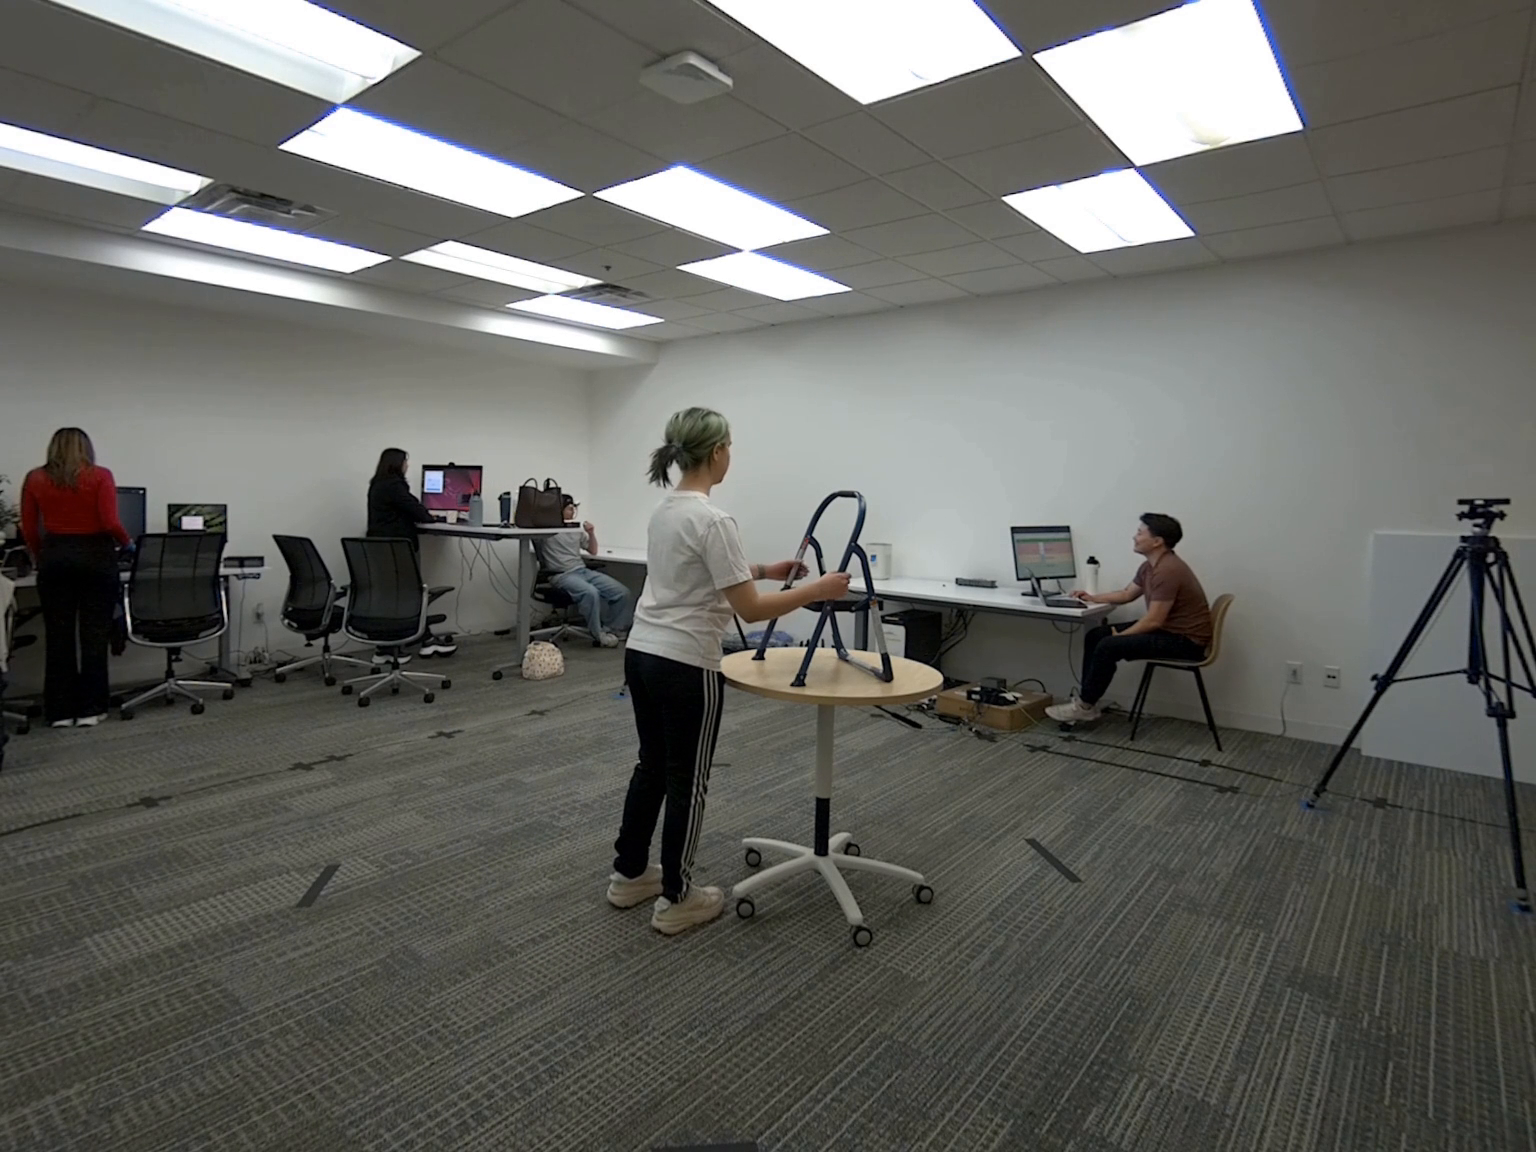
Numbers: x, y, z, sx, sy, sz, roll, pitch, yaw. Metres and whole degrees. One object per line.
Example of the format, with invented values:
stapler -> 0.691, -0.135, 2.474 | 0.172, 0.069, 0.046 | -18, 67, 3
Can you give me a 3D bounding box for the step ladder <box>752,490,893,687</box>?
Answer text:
step ladder -> 0.180, 0.016, 2.856 | 0.343, 0.604, 0.440 | 1, 5, -17
